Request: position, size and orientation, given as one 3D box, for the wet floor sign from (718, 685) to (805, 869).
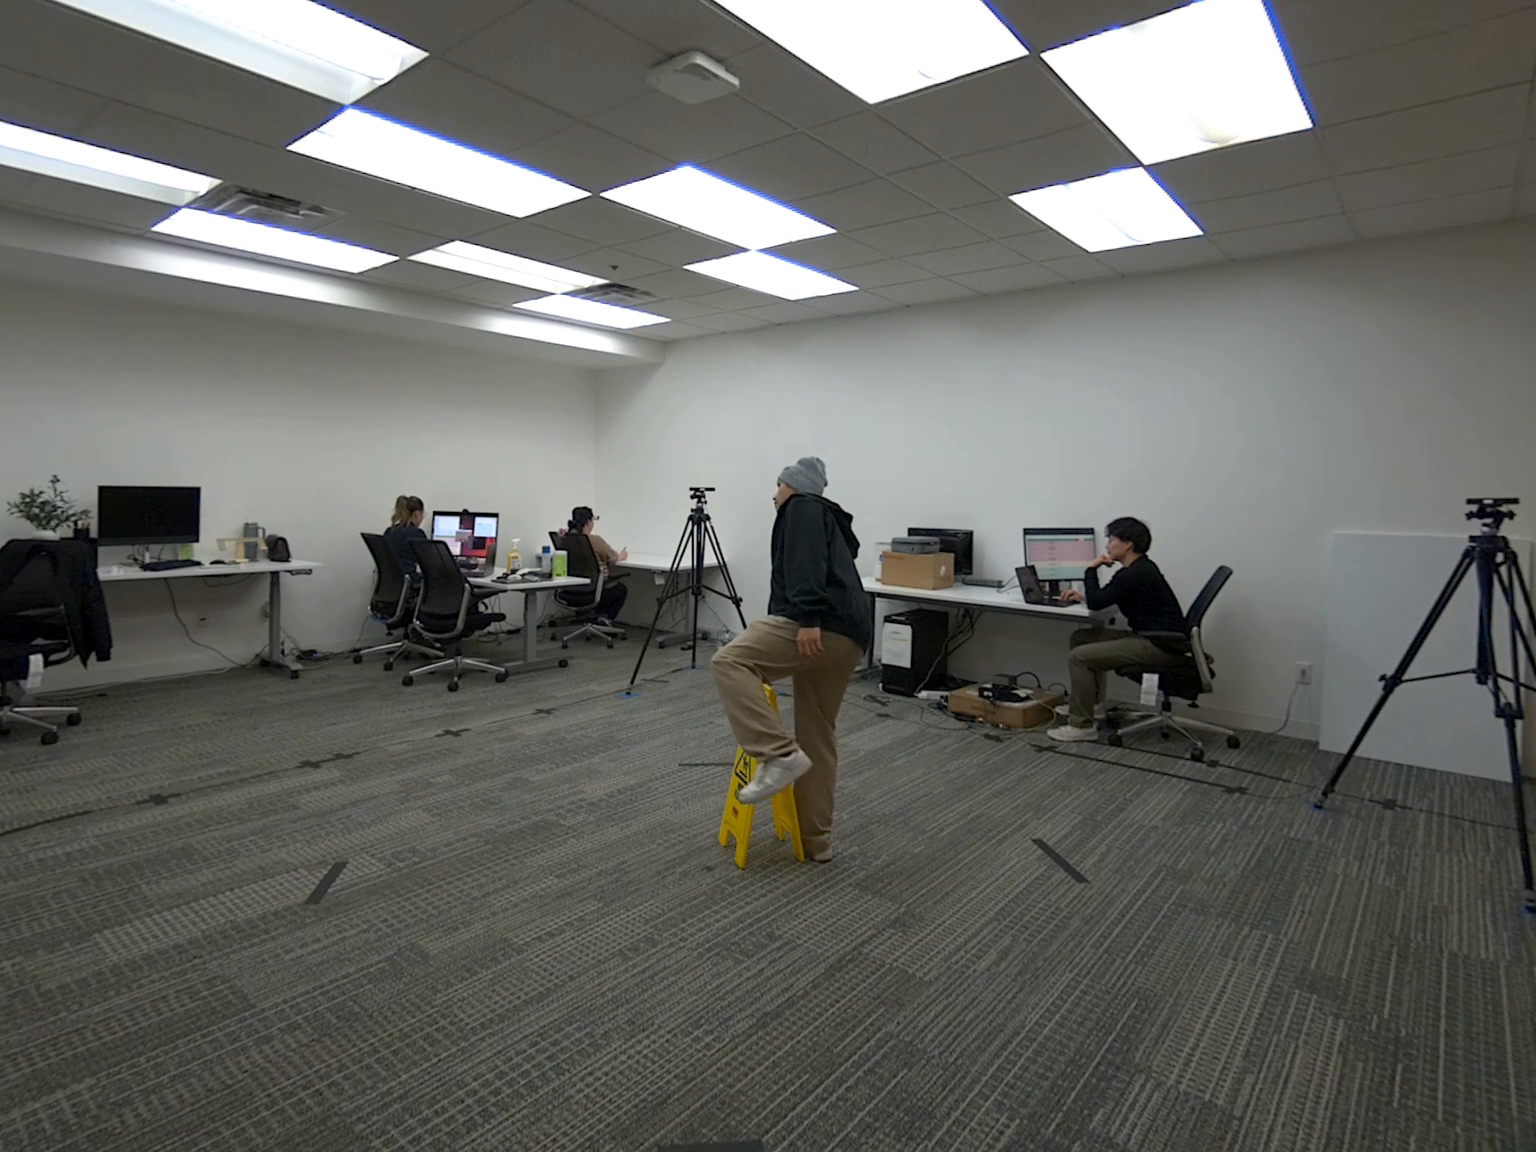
[{"bbox_3d":[-0.031,0.728,3.266,0.284,0.645,0.288,1,3,-19],"label":"wet floor sign"}]
